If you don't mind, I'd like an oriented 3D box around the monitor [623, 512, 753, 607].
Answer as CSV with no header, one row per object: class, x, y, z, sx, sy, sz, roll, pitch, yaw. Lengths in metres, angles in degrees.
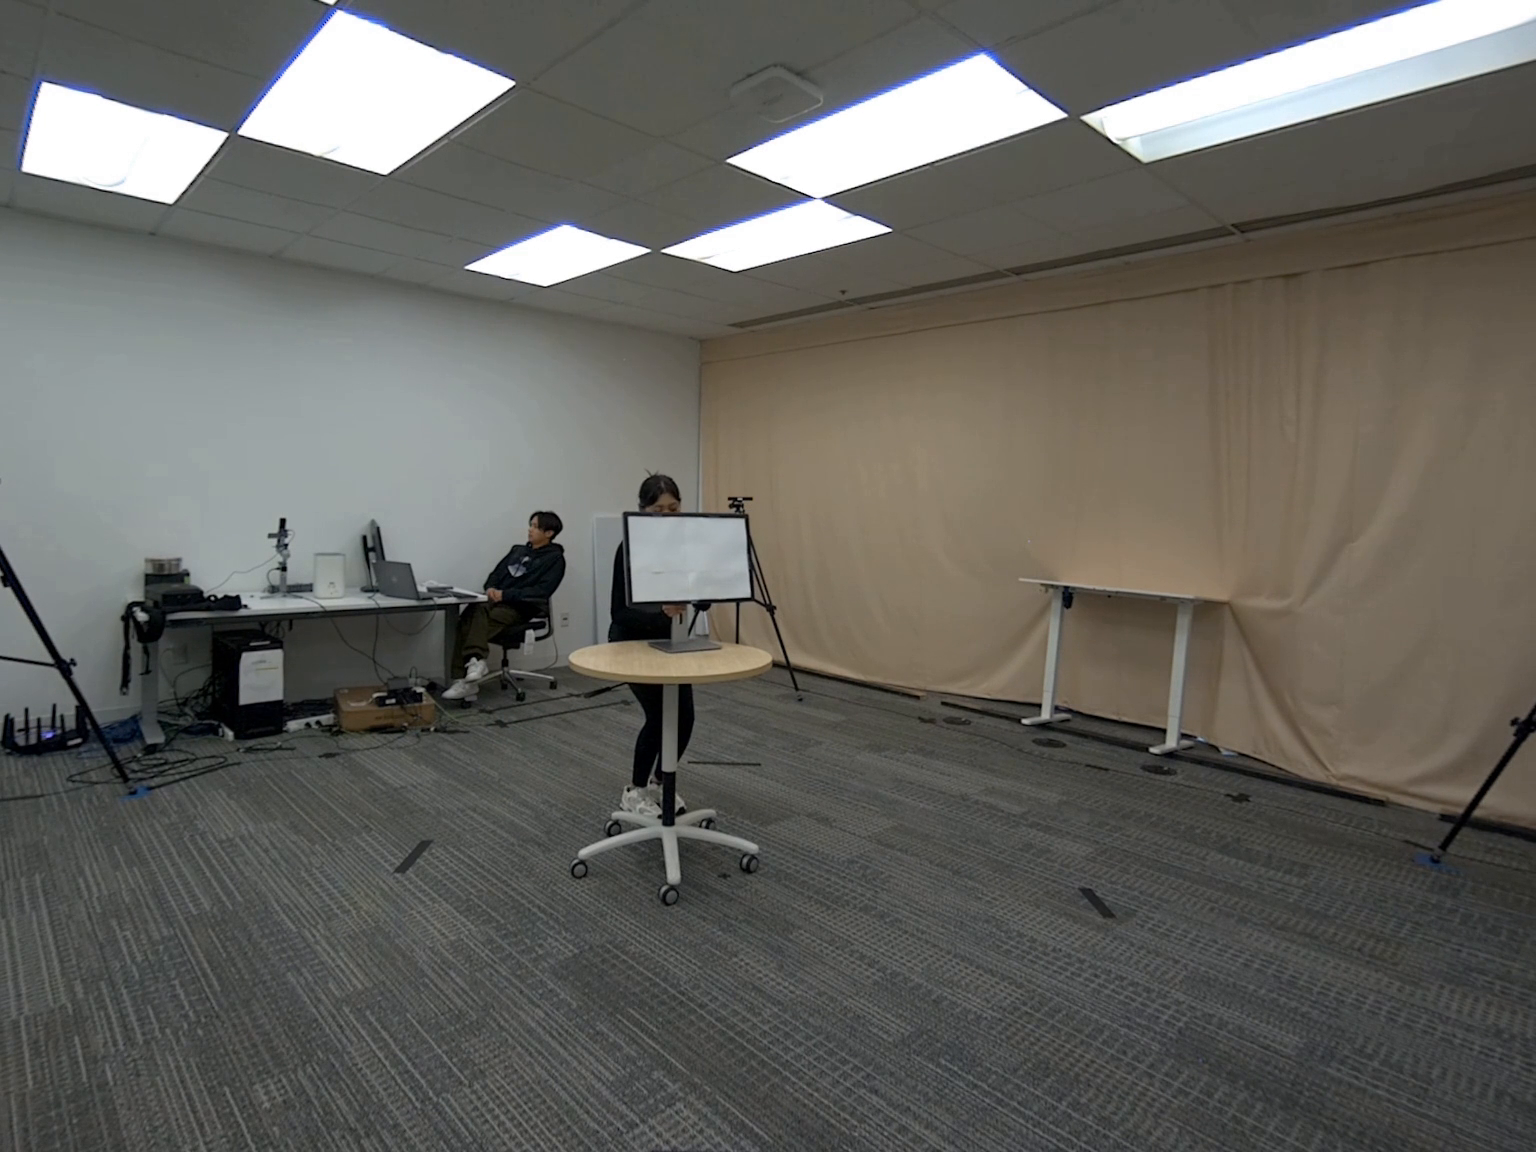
monitor,-0.339,0.019,3.368,0.528,0.521,0.191,-1,4,-32
